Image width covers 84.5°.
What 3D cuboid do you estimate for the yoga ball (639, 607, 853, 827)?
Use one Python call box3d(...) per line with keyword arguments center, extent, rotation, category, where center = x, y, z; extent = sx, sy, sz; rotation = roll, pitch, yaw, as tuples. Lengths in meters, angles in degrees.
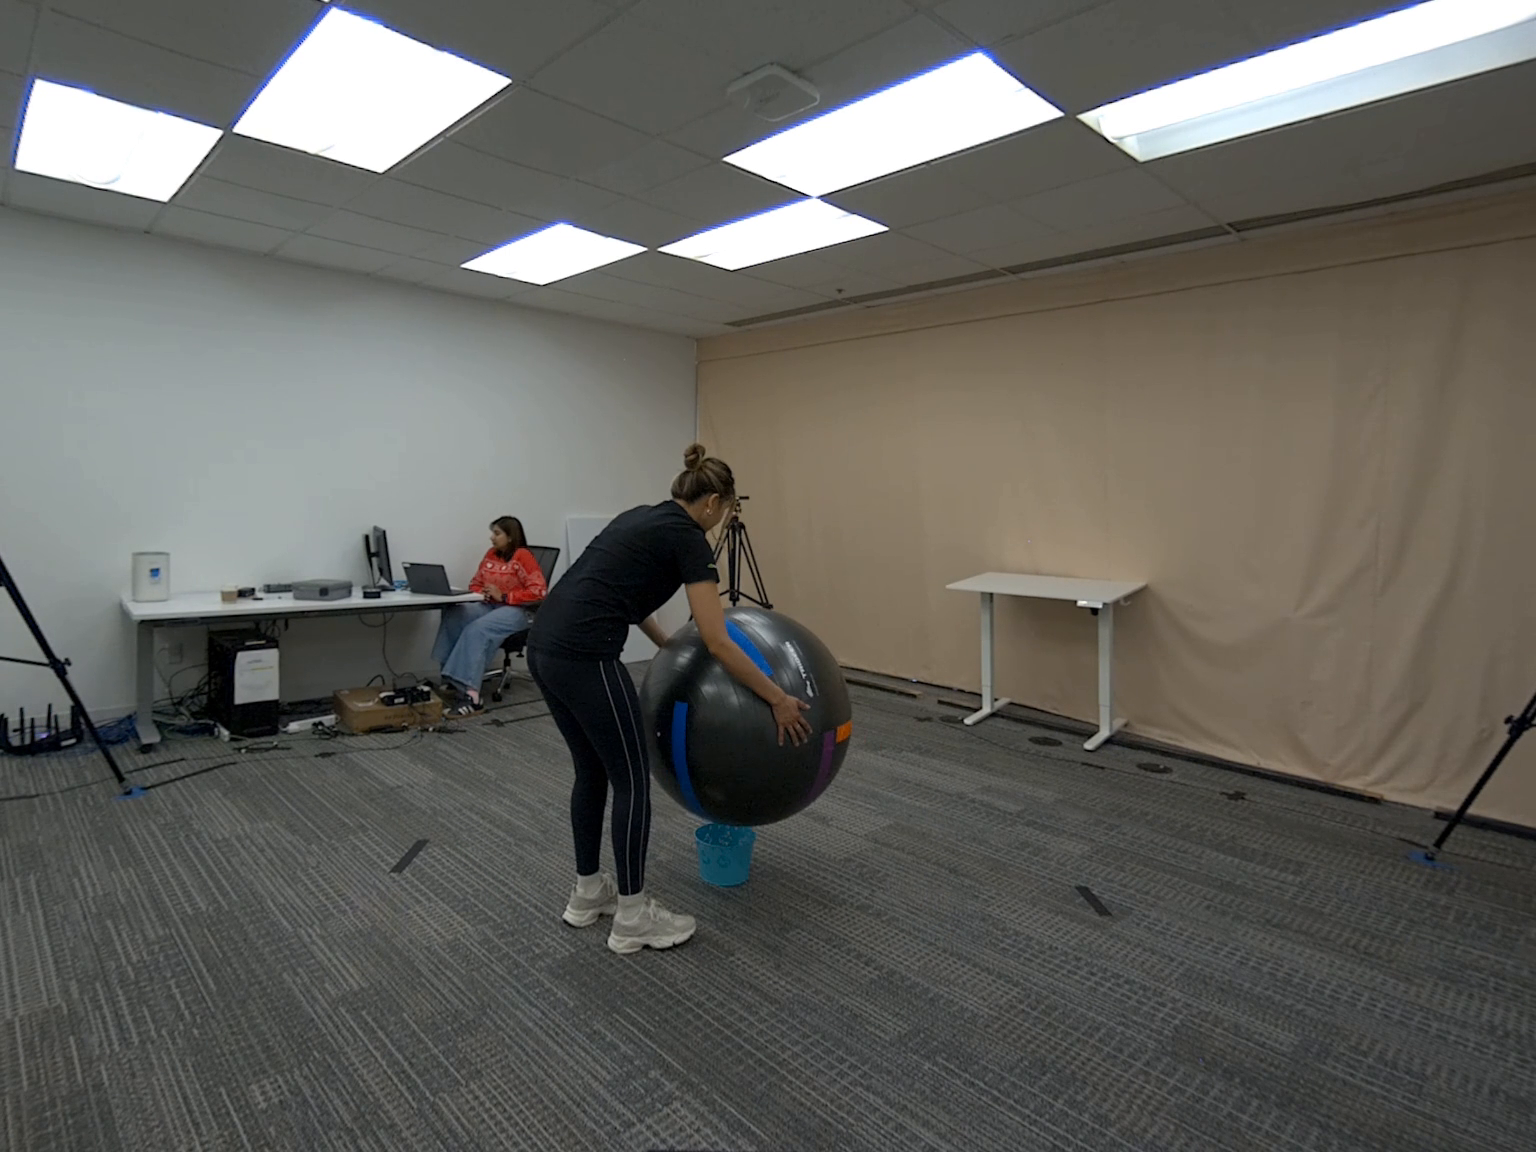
box3d(center=(-0.082, 0.492, 2.956), extent=(0.757, 0.756, 0.761), rotation=(1, 4, -1), category="yoga ball")
